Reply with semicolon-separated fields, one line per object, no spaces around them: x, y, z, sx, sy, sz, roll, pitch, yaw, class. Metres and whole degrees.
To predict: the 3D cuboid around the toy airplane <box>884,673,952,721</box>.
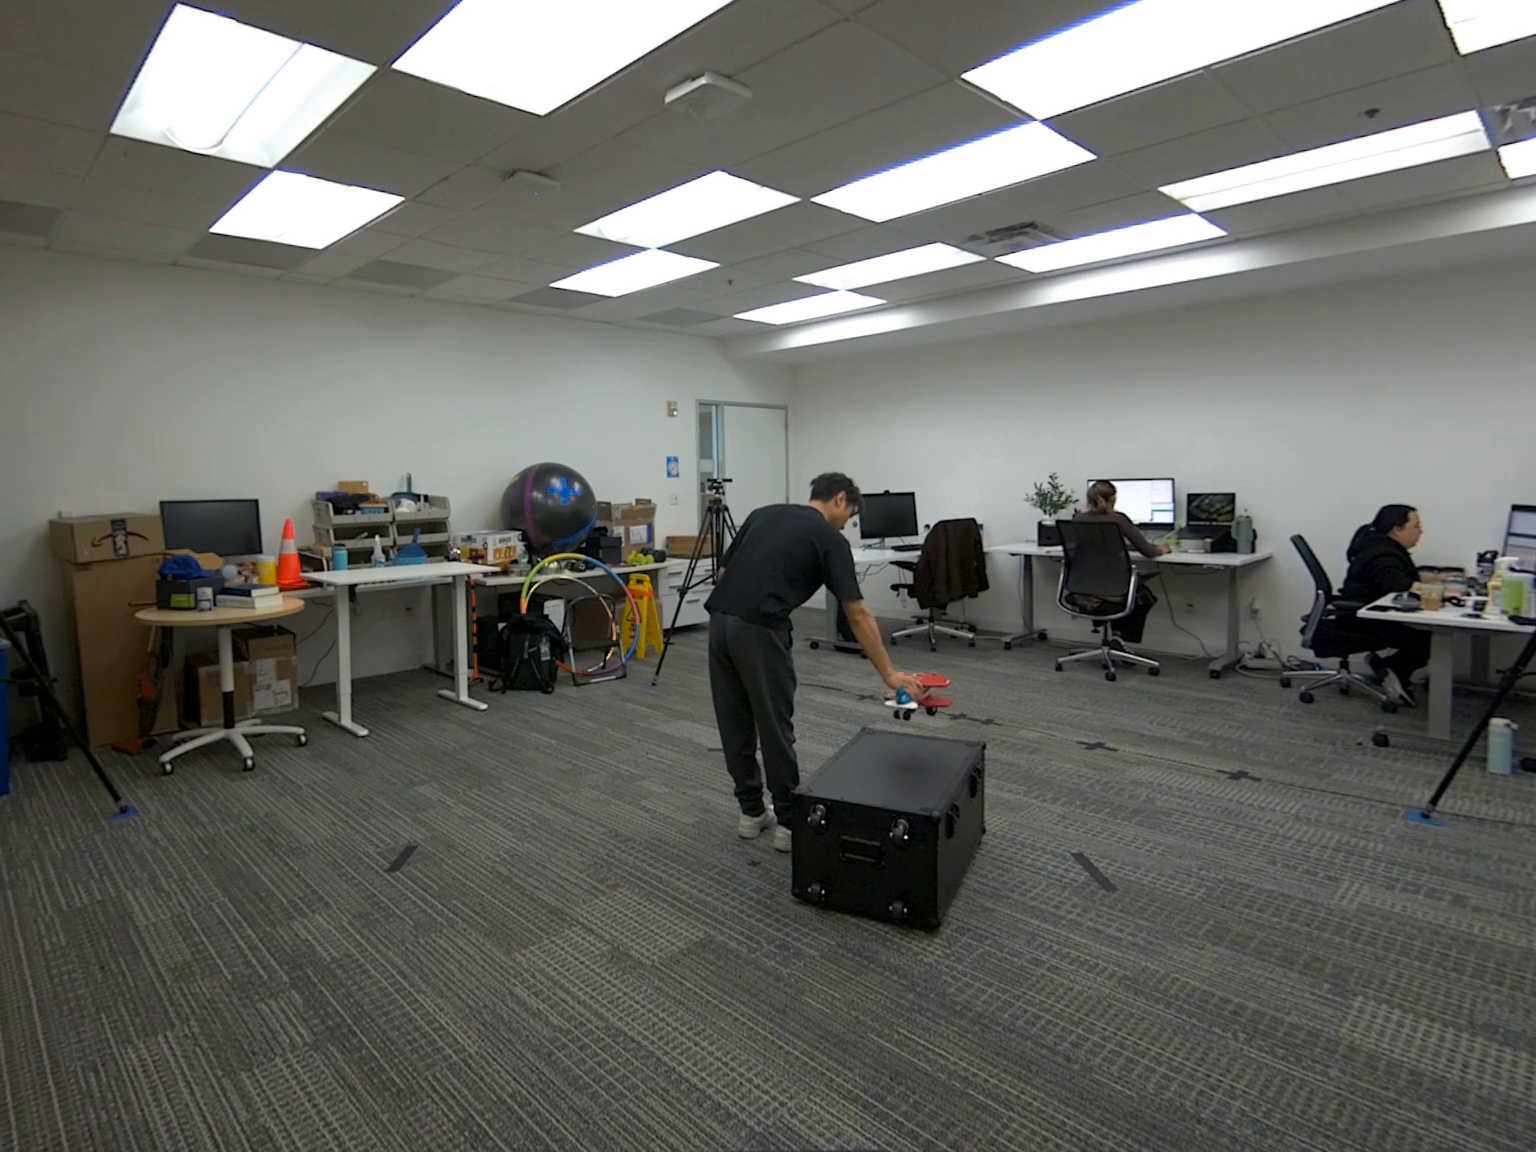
0.557;0.433;3.170;0.252;0.157;0.257;2;-1;4;toy airplane
